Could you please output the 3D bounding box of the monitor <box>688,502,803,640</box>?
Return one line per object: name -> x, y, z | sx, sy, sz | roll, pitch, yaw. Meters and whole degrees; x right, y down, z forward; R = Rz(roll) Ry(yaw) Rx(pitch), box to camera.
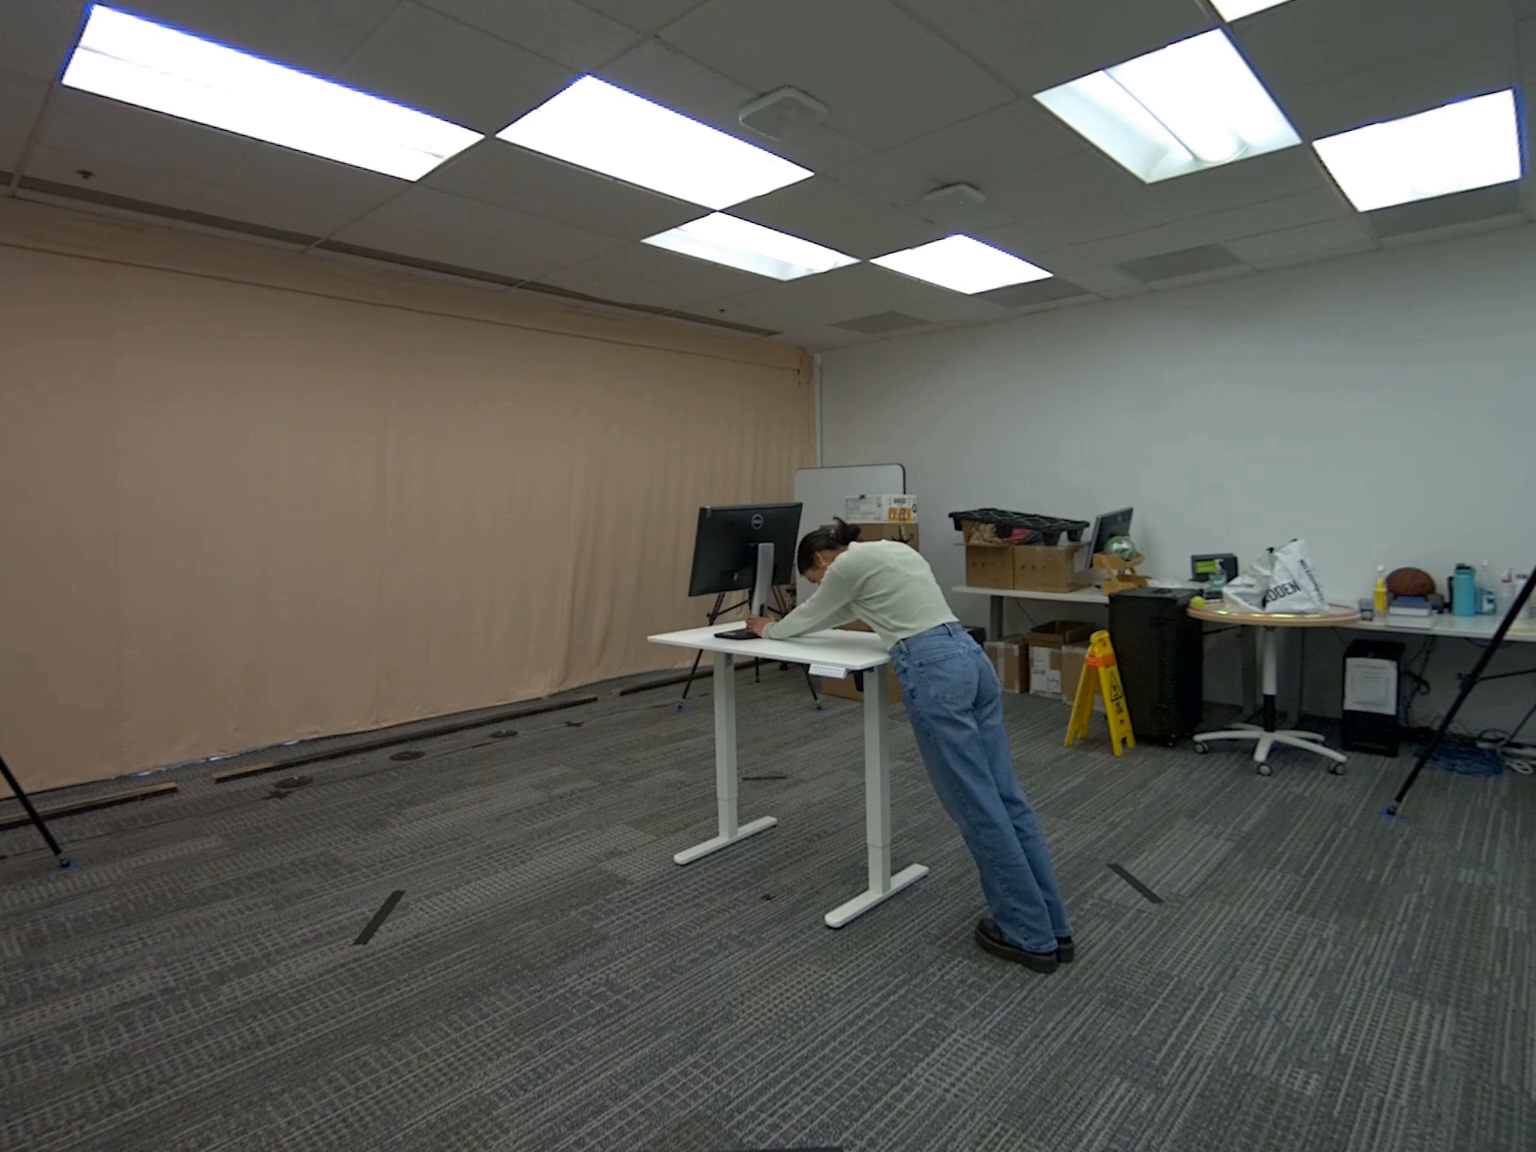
monitor -> -0.059, -0.022, 3.301 | 0.523, 0.521, 0.193 | -6, 8, -44
